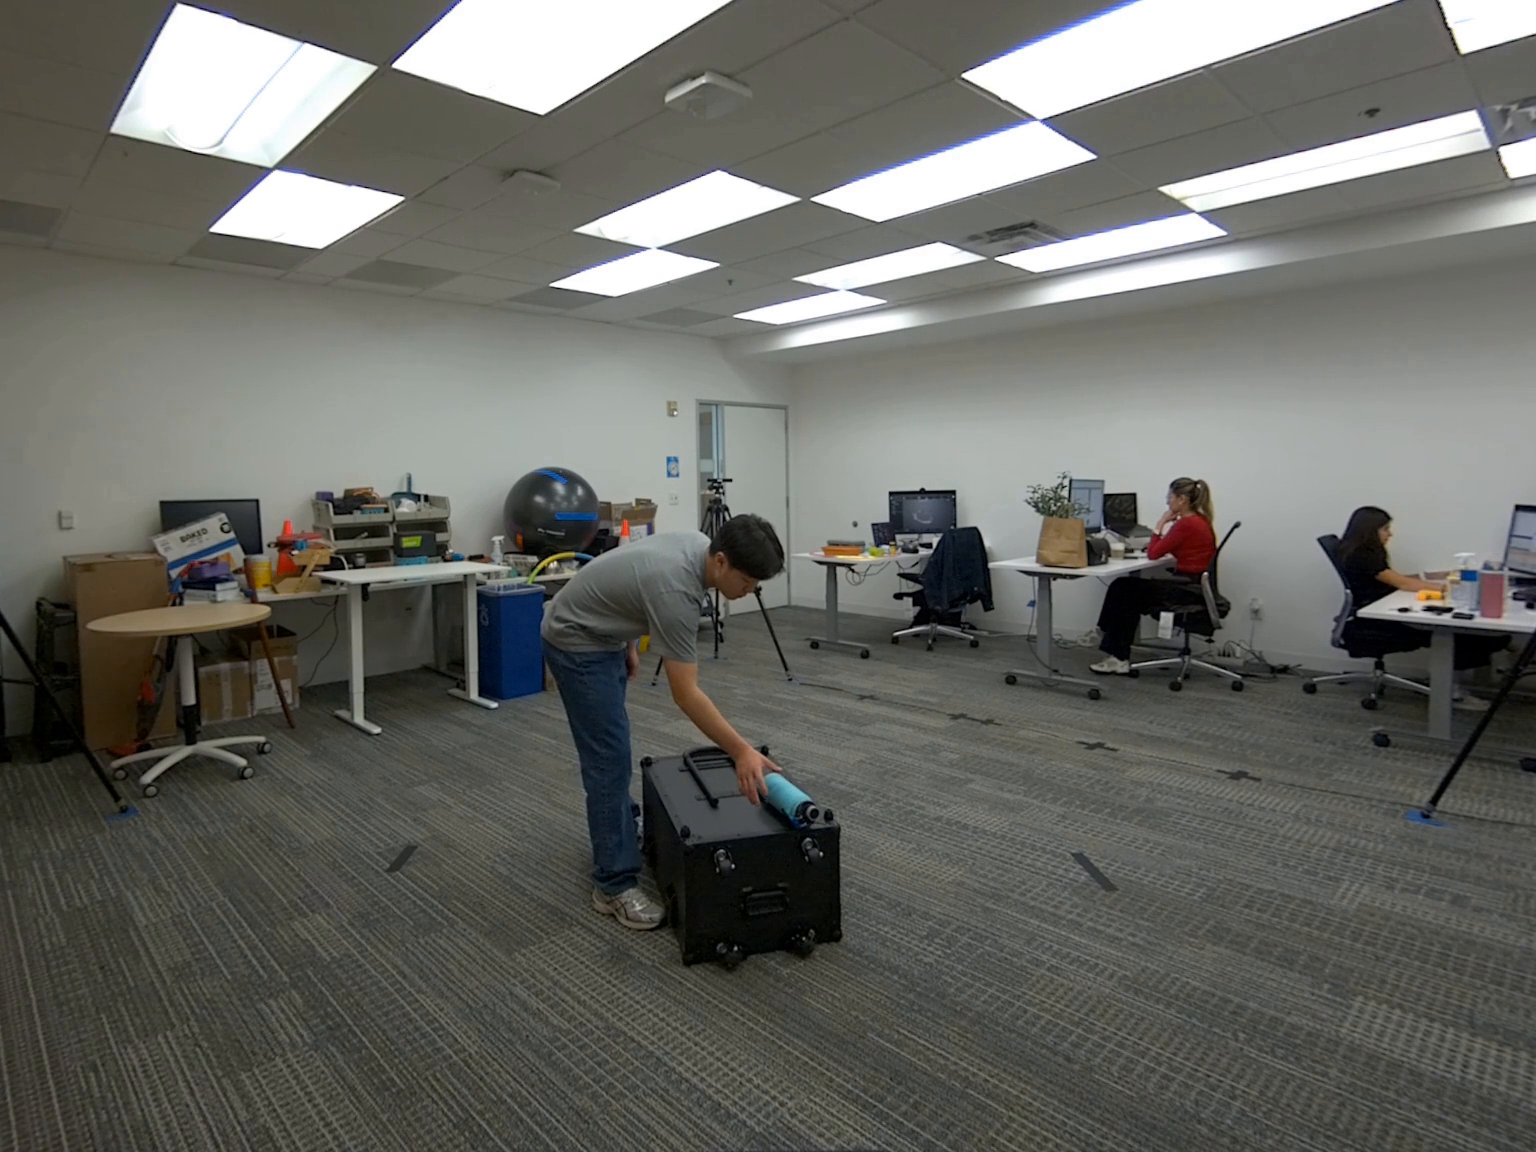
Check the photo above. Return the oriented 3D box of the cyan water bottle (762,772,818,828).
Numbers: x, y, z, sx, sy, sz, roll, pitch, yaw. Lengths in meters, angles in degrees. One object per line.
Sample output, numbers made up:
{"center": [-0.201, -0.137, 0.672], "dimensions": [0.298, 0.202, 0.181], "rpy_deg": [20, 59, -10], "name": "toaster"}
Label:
{"center": [0.071, 0.686, 2.629], "dimensions": [0.091, 0.092, 0.290], "rpy_deg": [-3, 7, -21], "name": "cyan water bottle"}
